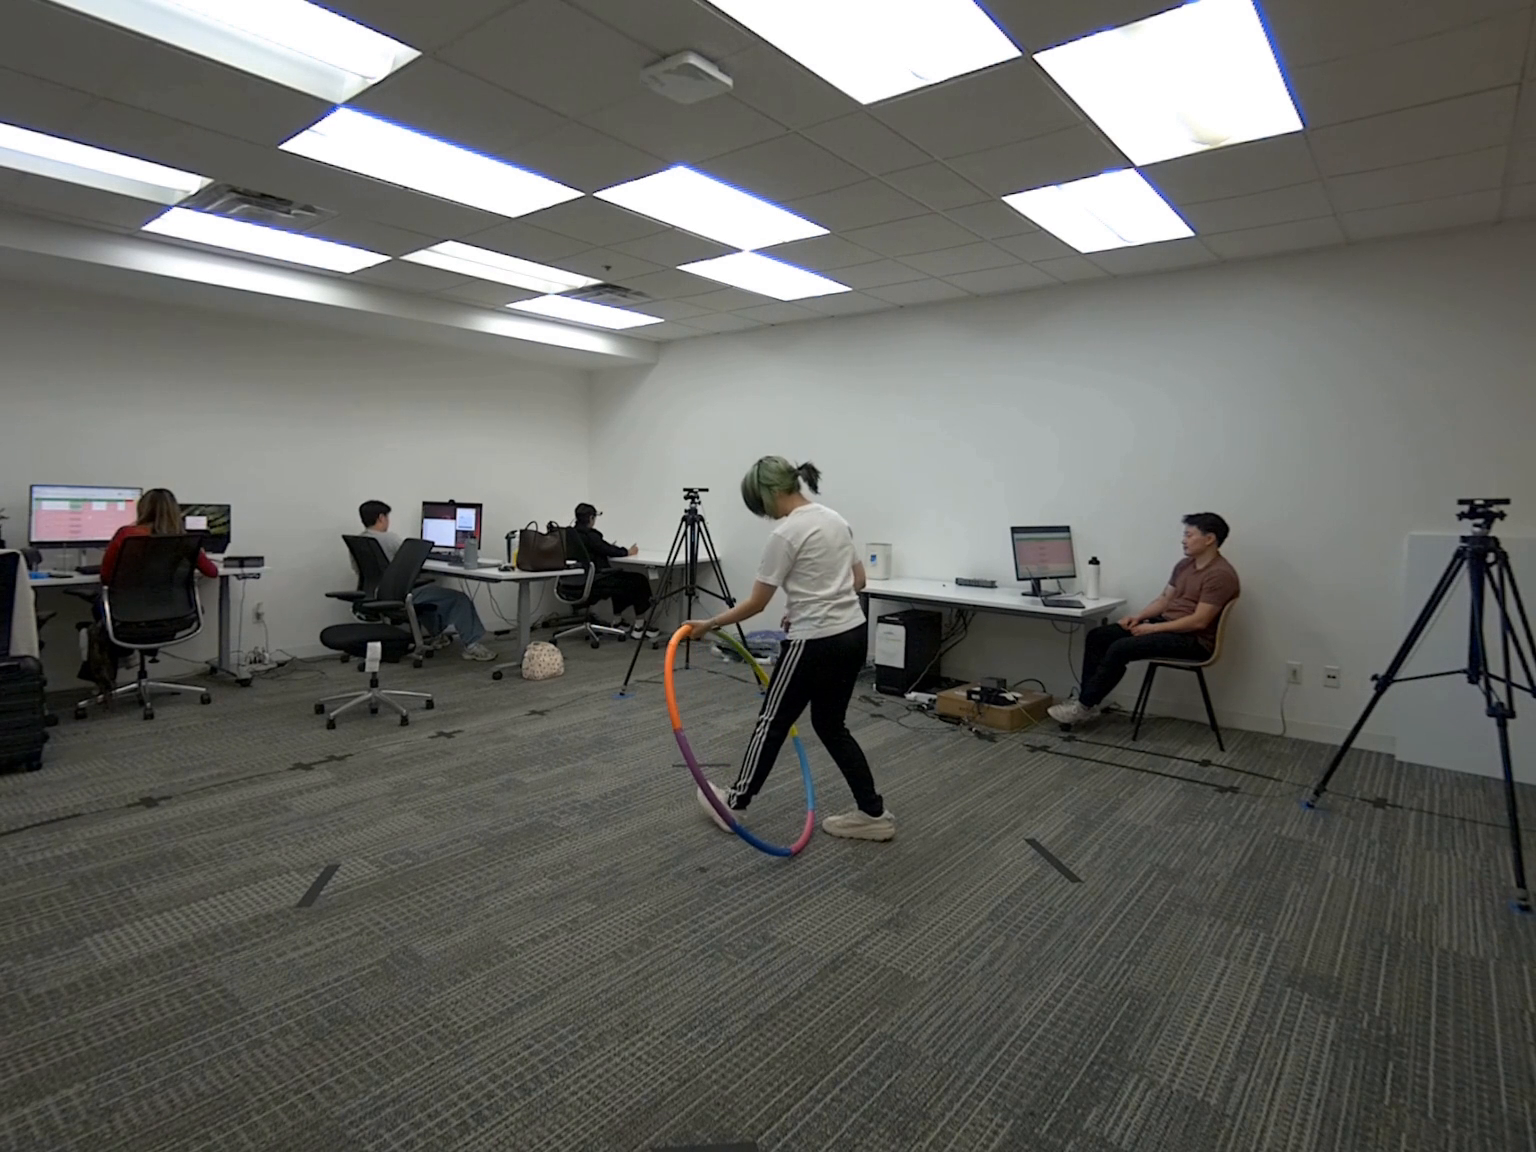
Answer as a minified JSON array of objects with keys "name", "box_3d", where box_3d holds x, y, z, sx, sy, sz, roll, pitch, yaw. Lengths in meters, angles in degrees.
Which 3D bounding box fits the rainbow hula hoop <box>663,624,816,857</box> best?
[{"name":"rainbow hula hoop","box_3d":[-0.107,0.629,3.402,0.036,0.991,0.960,-33,-8,19]}]
